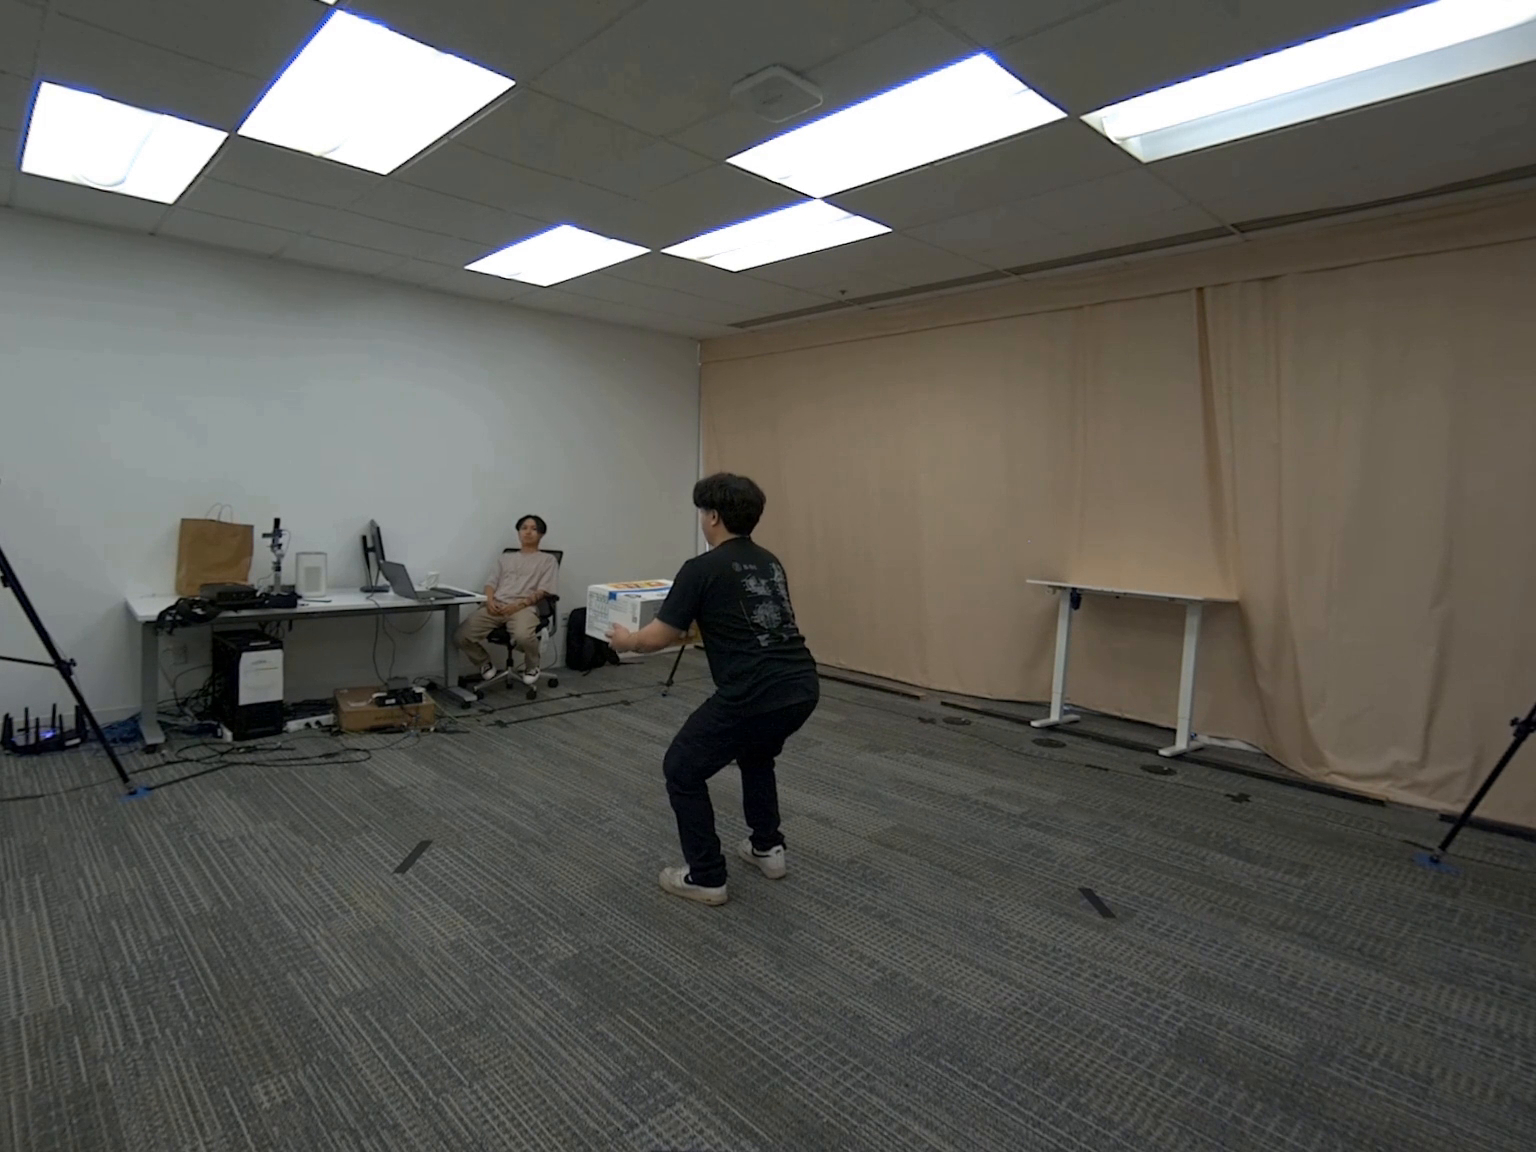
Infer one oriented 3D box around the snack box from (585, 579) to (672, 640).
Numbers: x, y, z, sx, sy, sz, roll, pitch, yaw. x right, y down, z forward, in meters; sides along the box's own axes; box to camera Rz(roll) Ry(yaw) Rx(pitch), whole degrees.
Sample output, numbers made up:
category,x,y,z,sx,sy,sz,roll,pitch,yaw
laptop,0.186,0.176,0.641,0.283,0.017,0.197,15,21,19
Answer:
category,x,y,z,sx,sy,sz,roll,pitch,yaw
snack box,-0.471,0.150,3.408,0.350,0.204,0.396,12,11,43
